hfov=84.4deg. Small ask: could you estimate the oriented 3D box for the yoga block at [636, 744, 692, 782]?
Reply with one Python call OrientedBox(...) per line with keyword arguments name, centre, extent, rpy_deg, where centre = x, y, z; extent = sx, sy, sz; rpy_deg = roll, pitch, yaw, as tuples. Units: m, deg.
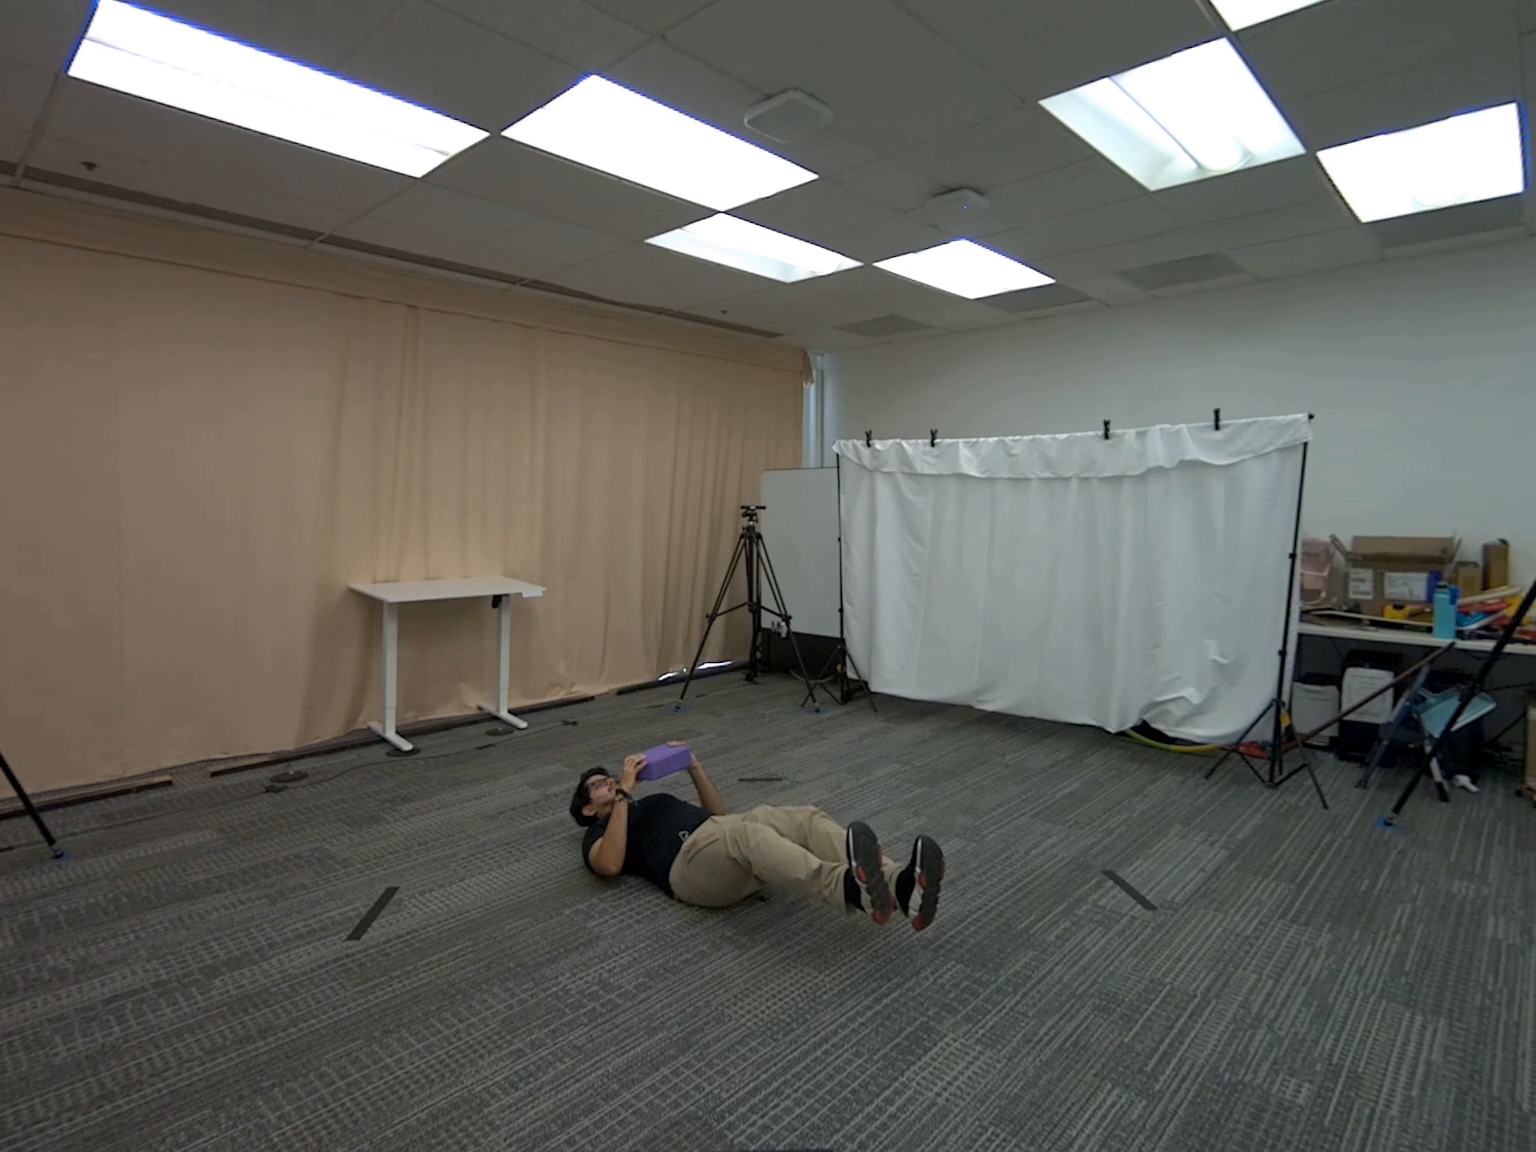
OrientedBox(name="yoga block", centre=(-0.421, 0.718, 3.221), extent=(0.153, 0.076, 0.223), rpy_deg=(-5, 3, 35))
